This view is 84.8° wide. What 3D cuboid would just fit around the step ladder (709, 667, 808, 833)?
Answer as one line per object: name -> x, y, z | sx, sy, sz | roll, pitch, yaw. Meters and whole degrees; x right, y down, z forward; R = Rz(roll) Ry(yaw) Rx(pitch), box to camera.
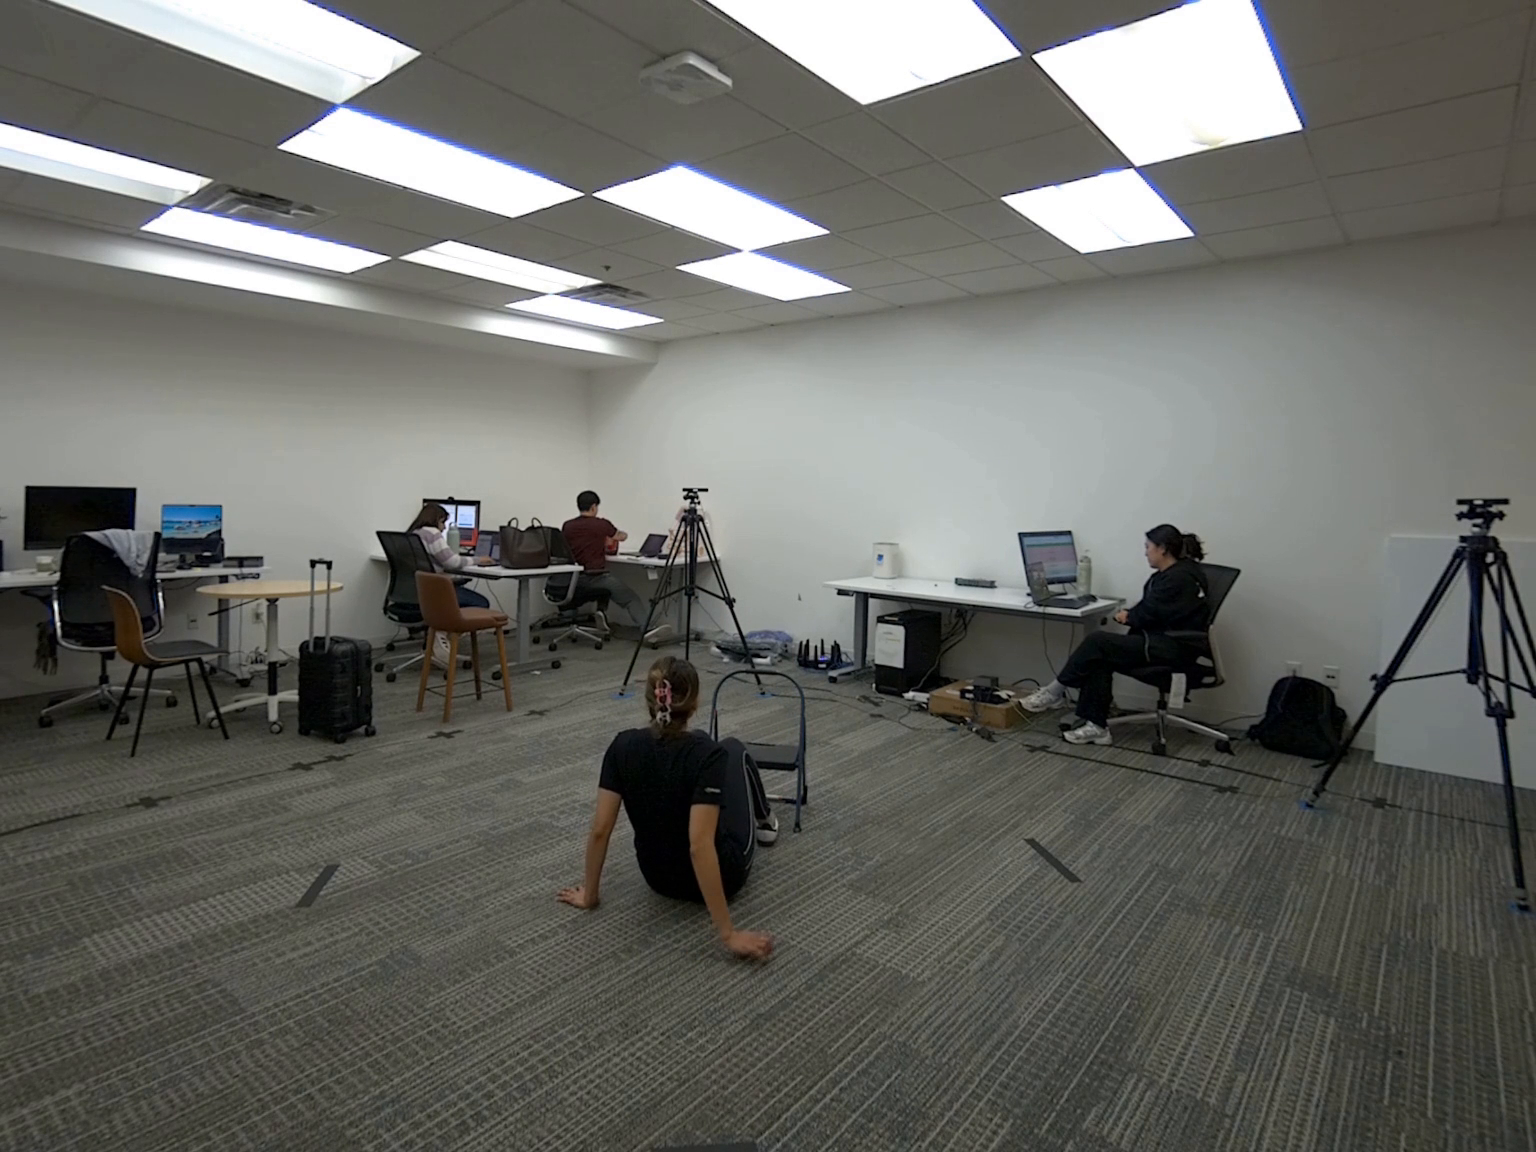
step ladder -> -0.052, 0.715, 3.665 | 0.436, 0.604, 0.346 | 2, 4, 10
